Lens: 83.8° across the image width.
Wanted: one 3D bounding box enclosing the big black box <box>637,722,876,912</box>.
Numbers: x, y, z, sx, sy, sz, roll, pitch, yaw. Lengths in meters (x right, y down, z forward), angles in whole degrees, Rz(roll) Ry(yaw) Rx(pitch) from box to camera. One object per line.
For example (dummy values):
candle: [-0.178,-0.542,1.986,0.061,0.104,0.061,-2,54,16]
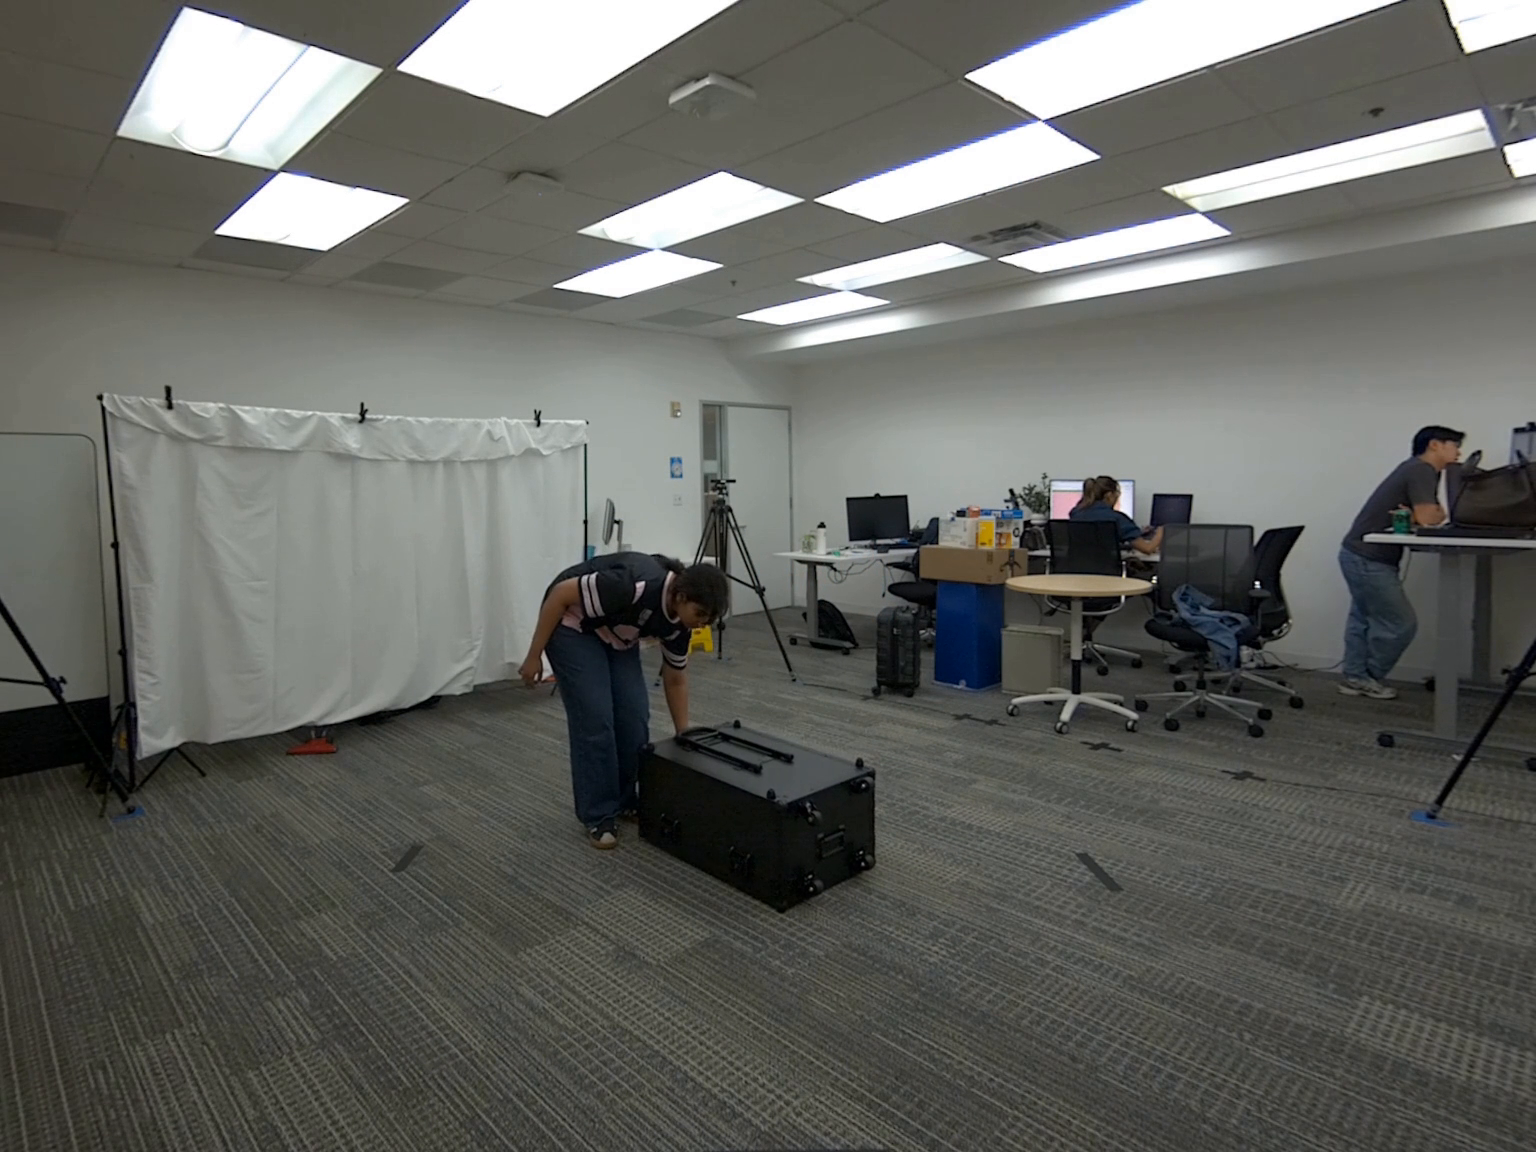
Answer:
big black box: [-0.023,0.849,3.161,0.509,0.383,0.896,-4,8,-43]
